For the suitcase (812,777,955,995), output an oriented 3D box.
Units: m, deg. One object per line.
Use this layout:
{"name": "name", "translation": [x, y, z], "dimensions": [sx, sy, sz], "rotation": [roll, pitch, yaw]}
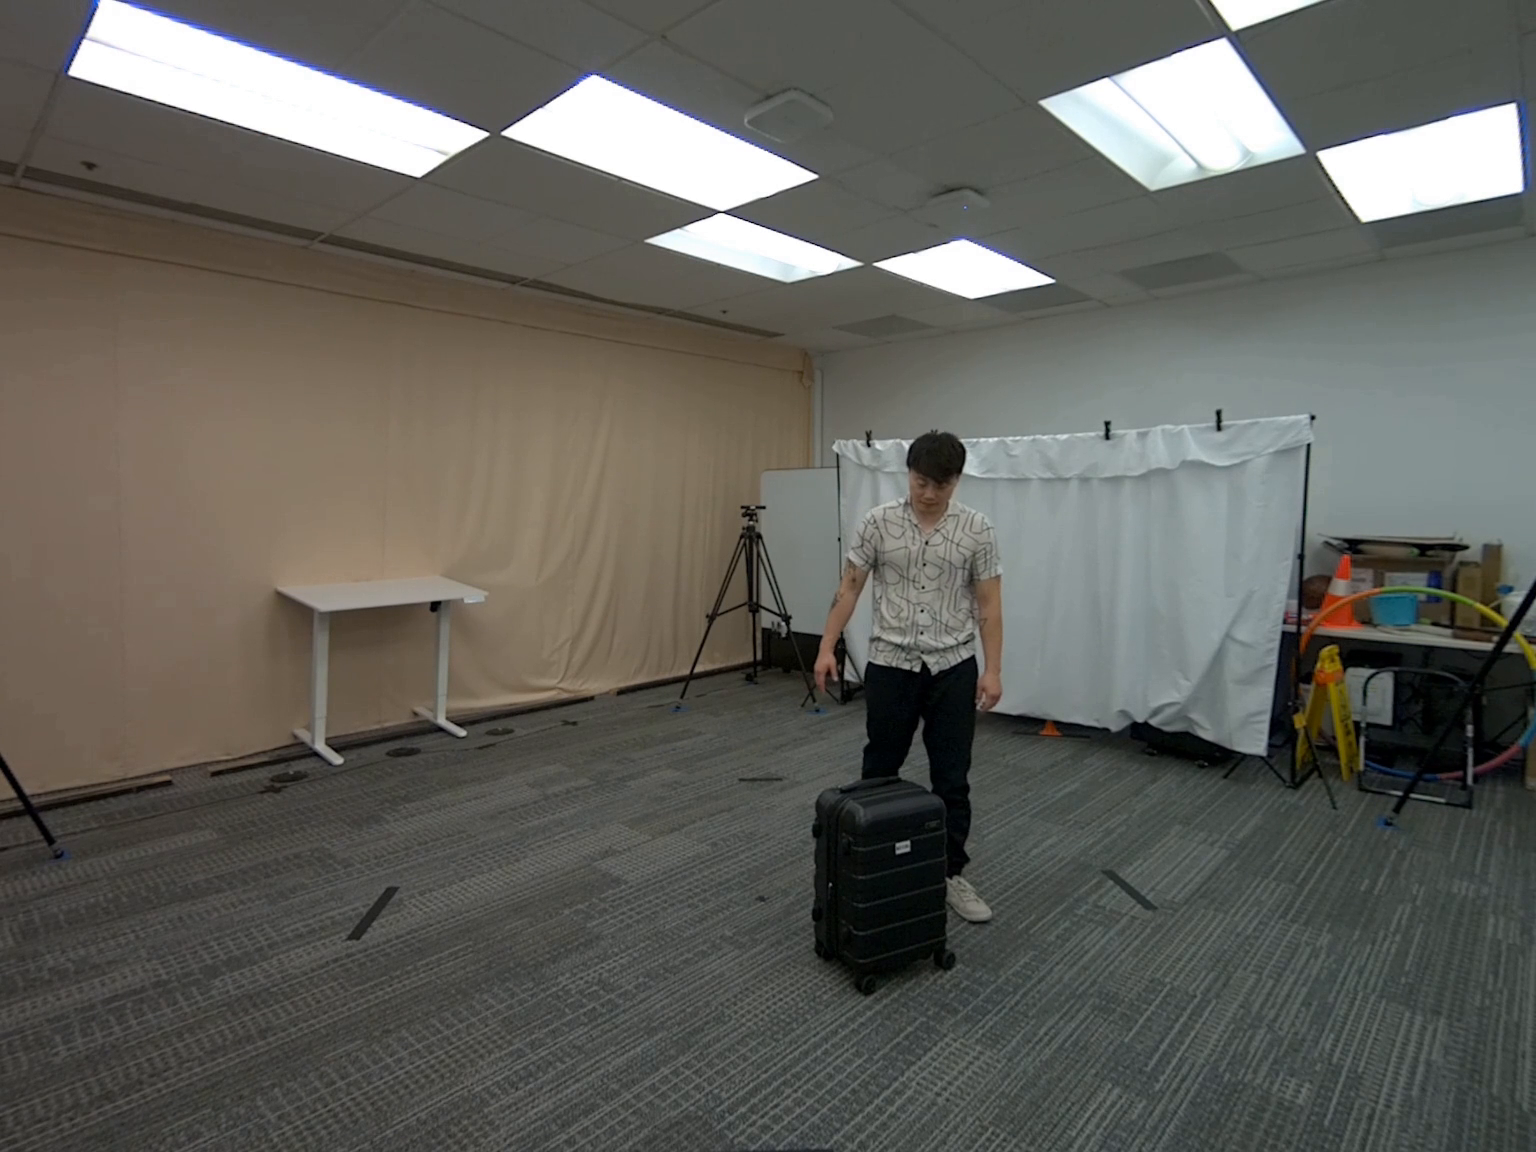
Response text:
{"name": "suitcase", "translation": [0.345, 0.902, 2.538], "dimensions": [0.366, 0.548, 0.255], "rotation": [-1, 4, -25]}
